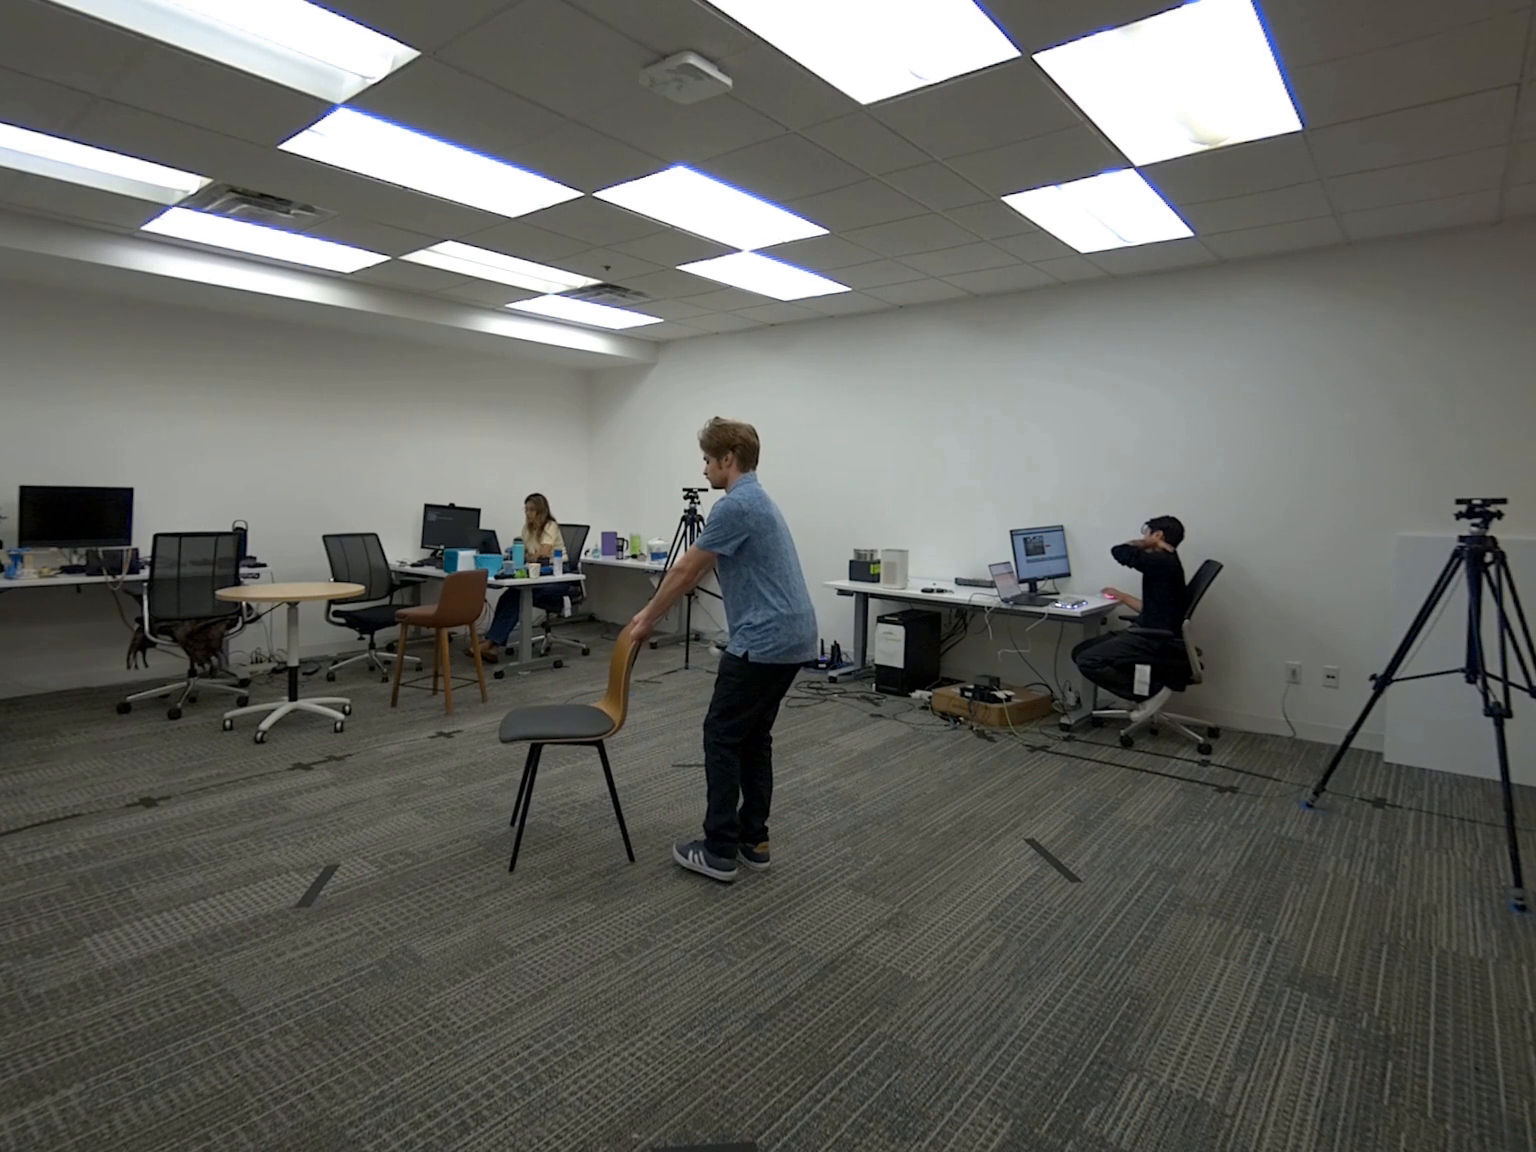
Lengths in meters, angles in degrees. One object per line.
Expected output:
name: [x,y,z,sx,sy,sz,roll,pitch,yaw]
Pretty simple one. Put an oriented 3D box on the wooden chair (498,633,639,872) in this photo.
wooden chair: [-0.786,0.617,3.292,0.514,0.875,0.487,4,3,-16]
